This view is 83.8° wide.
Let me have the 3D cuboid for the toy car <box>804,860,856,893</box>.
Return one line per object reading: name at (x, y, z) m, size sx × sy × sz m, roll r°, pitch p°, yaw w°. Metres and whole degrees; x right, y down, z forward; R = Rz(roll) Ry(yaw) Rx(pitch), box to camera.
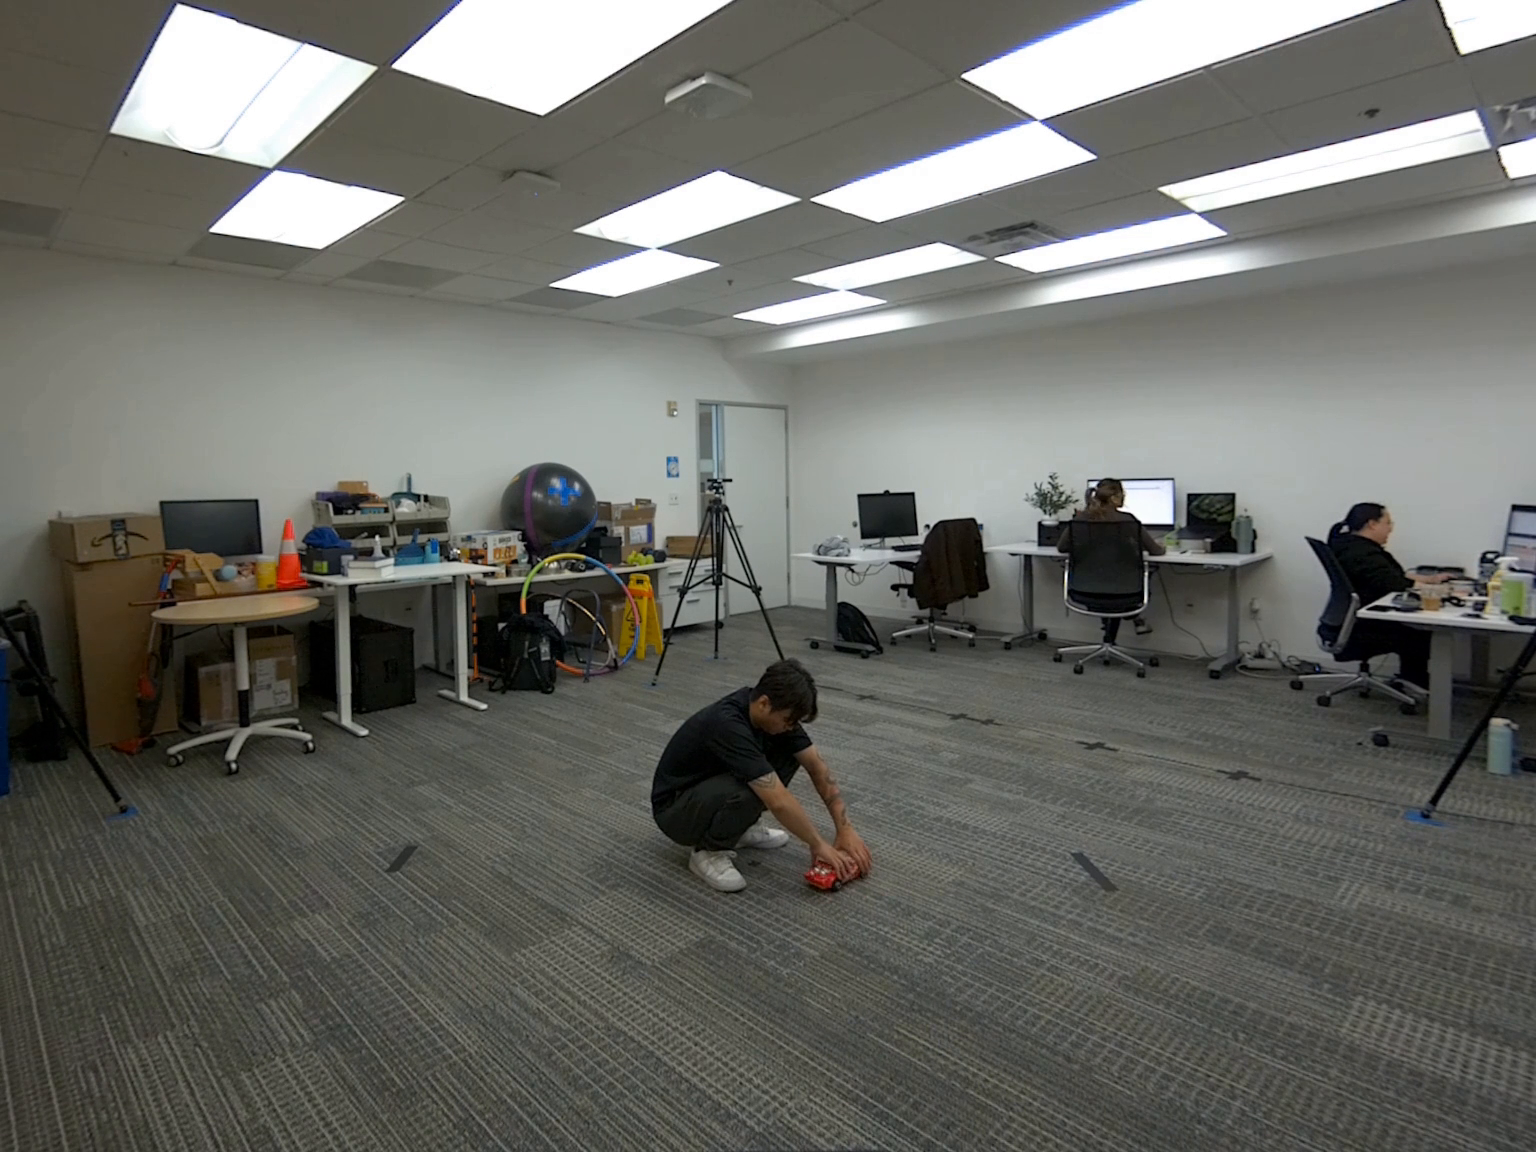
toy car at (0.234, 1.023, 2.952) m, size 0.246 × 0.083 × 0.134 m, roll 9°, pitch -2°, yaw -43°
